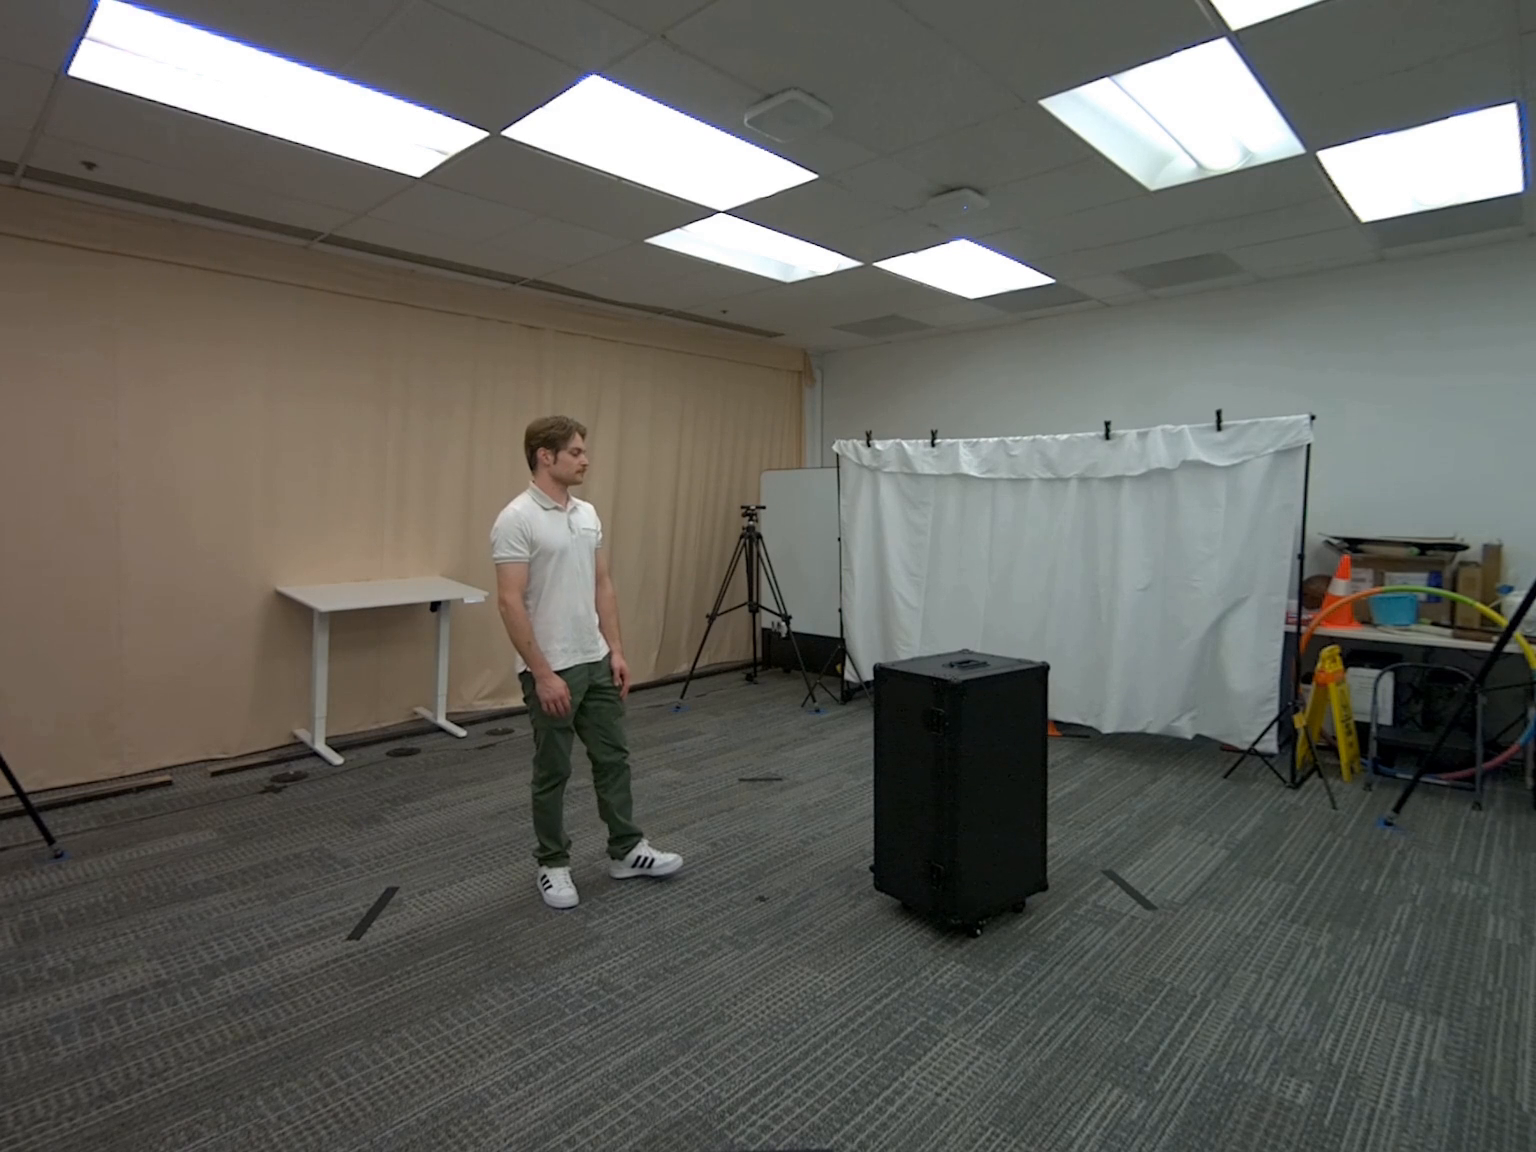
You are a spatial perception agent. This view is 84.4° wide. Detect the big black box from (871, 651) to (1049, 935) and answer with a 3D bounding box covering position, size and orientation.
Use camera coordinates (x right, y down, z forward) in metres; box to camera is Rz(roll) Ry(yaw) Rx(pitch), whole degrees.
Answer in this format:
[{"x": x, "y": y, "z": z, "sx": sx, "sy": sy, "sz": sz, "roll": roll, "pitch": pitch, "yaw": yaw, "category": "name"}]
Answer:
[{"x": 0.658, "y": 0.728, "z": 2.877, "sx": 0.508, "sy": 0.867, "sz": 0.397, "roll": -3, "pitch": 3, "yaw": -36, "category": "big black box"}]
